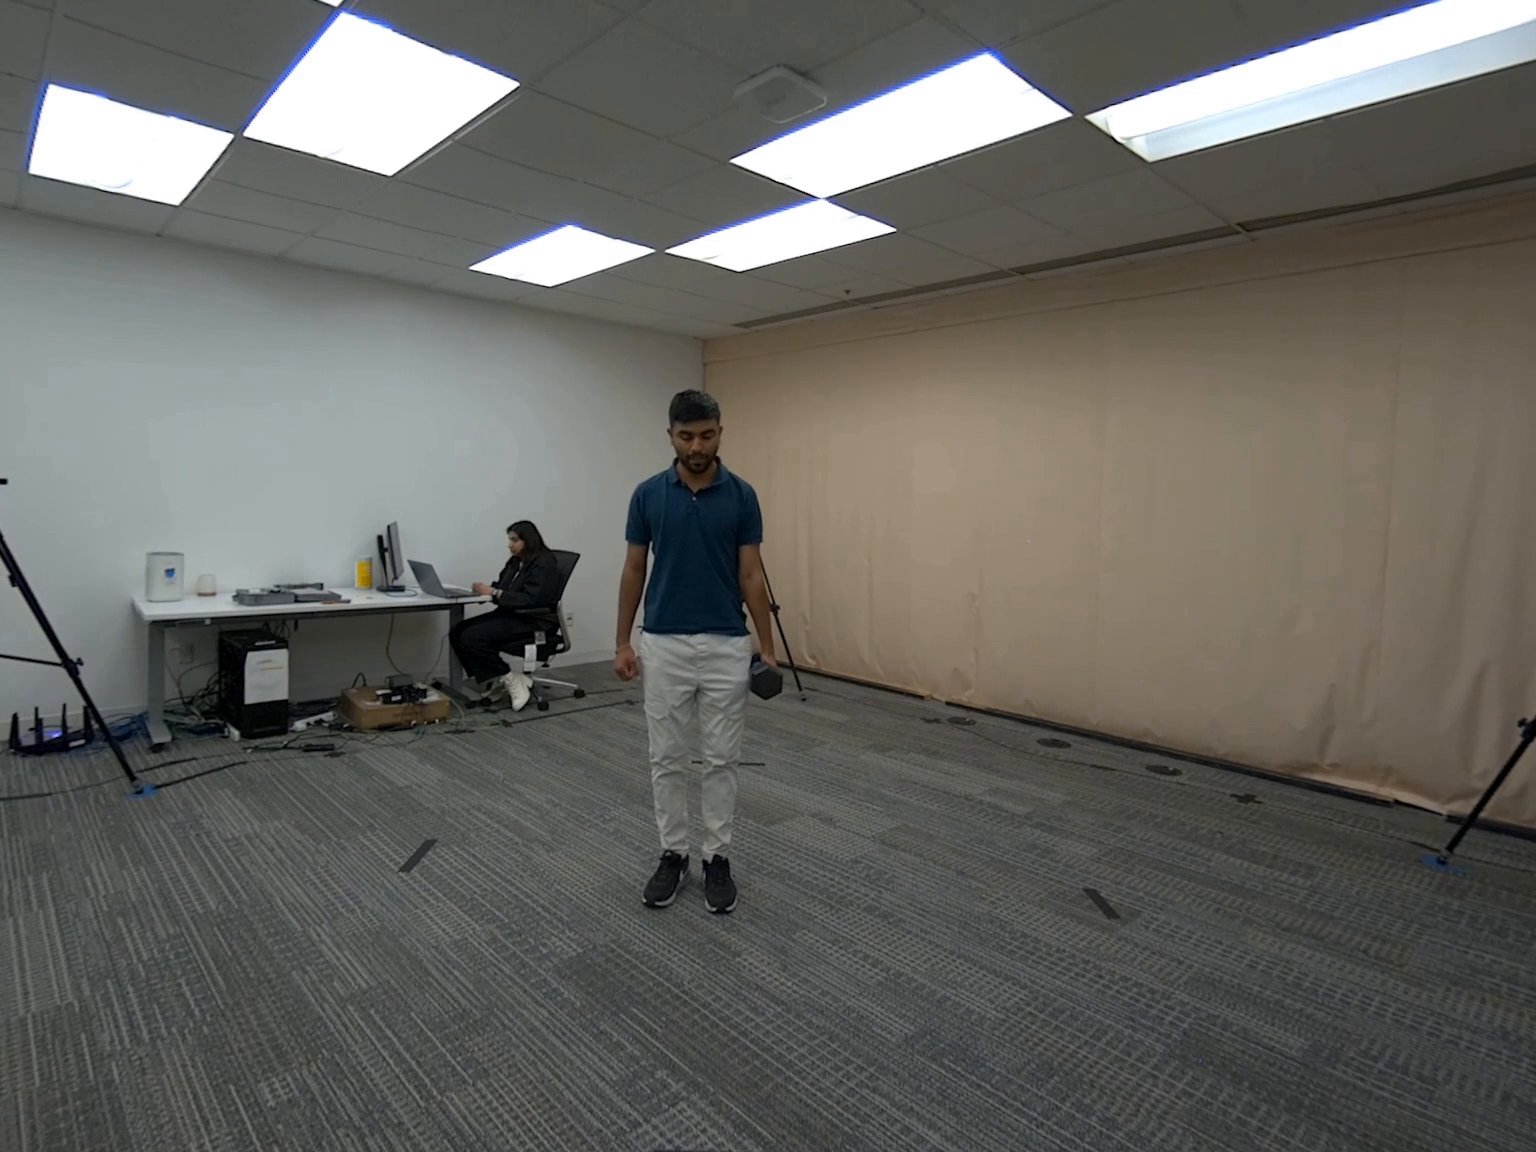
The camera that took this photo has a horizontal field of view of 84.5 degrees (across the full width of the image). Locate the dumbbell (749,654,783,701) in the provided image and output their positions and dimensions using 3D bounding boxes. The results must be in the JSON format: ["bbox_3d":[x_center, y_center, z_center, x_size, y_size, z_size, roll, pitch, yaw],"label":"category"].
[{"bbox_3d":[-0.039,0.340,2.894,0.108,0.123,0.296,2,4,-9],"label":"dumbbell"}]
